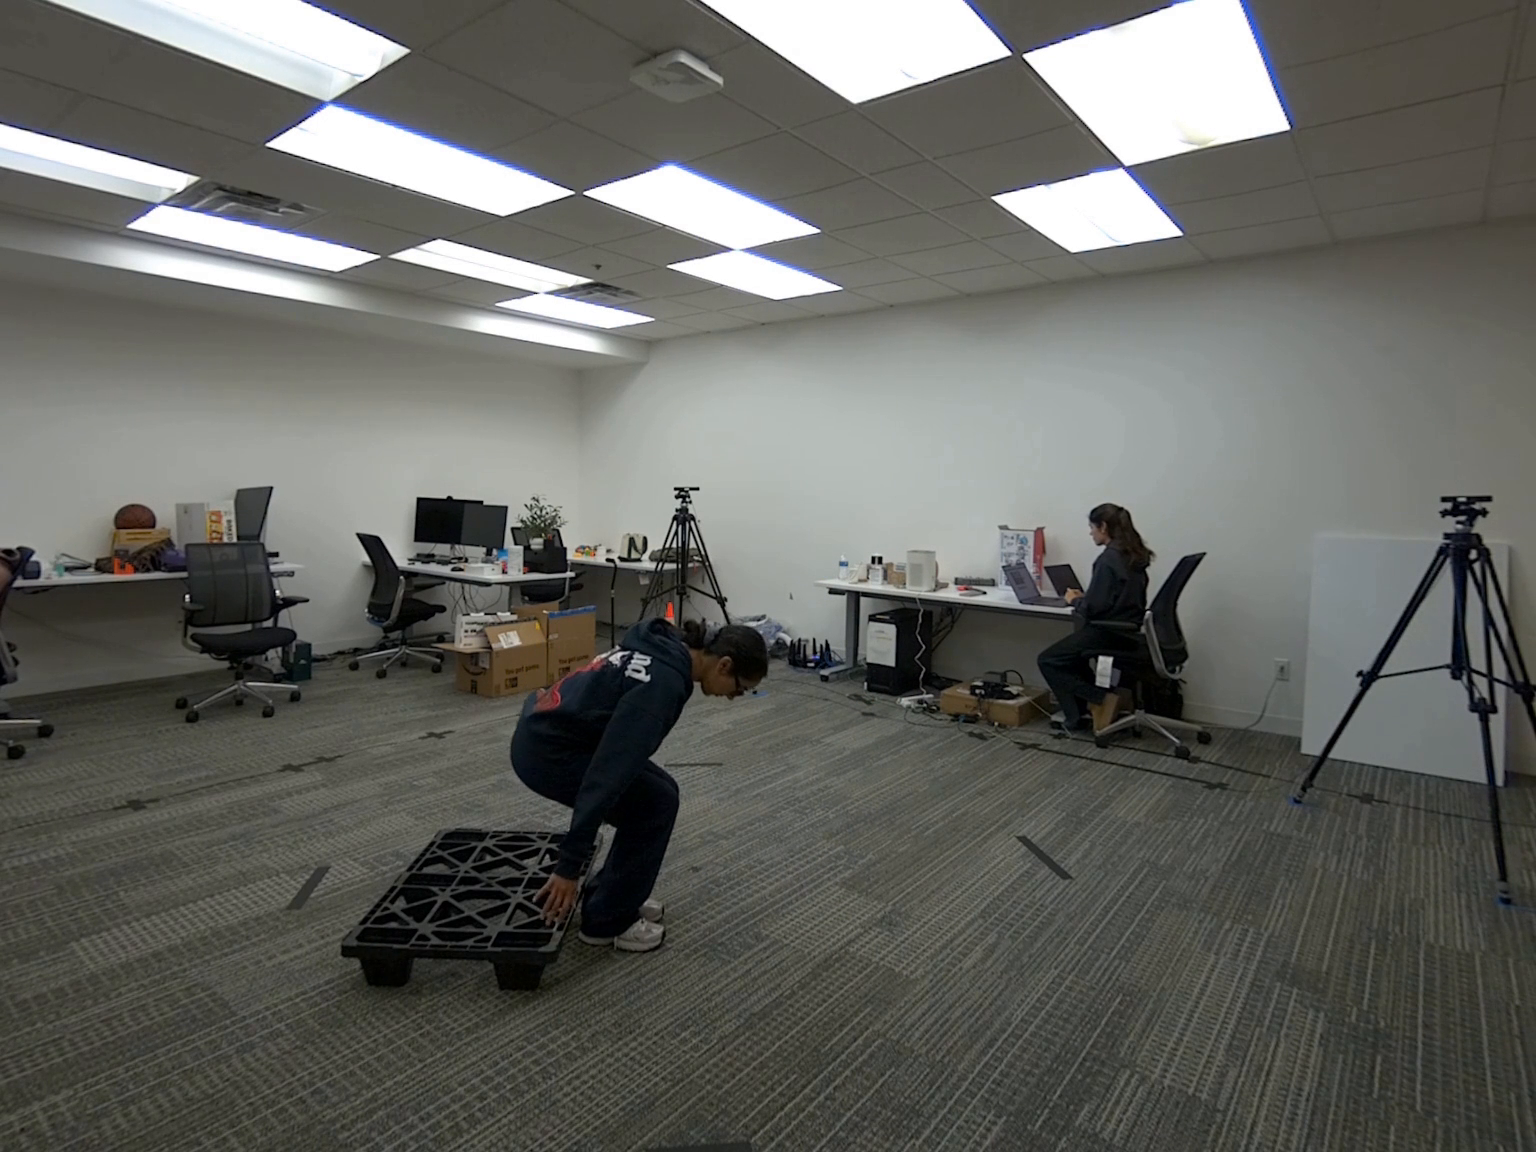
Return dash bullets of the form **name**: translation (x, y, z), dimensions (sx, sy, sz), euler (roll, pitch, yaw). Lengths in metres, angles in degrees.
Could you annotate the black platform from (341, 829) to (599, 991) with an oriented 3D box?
- **black platform**: translation (-0.899, 1.029, 2.704), dimensions (0.605, 0.143, 0.809), euler (0, 6, -1)
